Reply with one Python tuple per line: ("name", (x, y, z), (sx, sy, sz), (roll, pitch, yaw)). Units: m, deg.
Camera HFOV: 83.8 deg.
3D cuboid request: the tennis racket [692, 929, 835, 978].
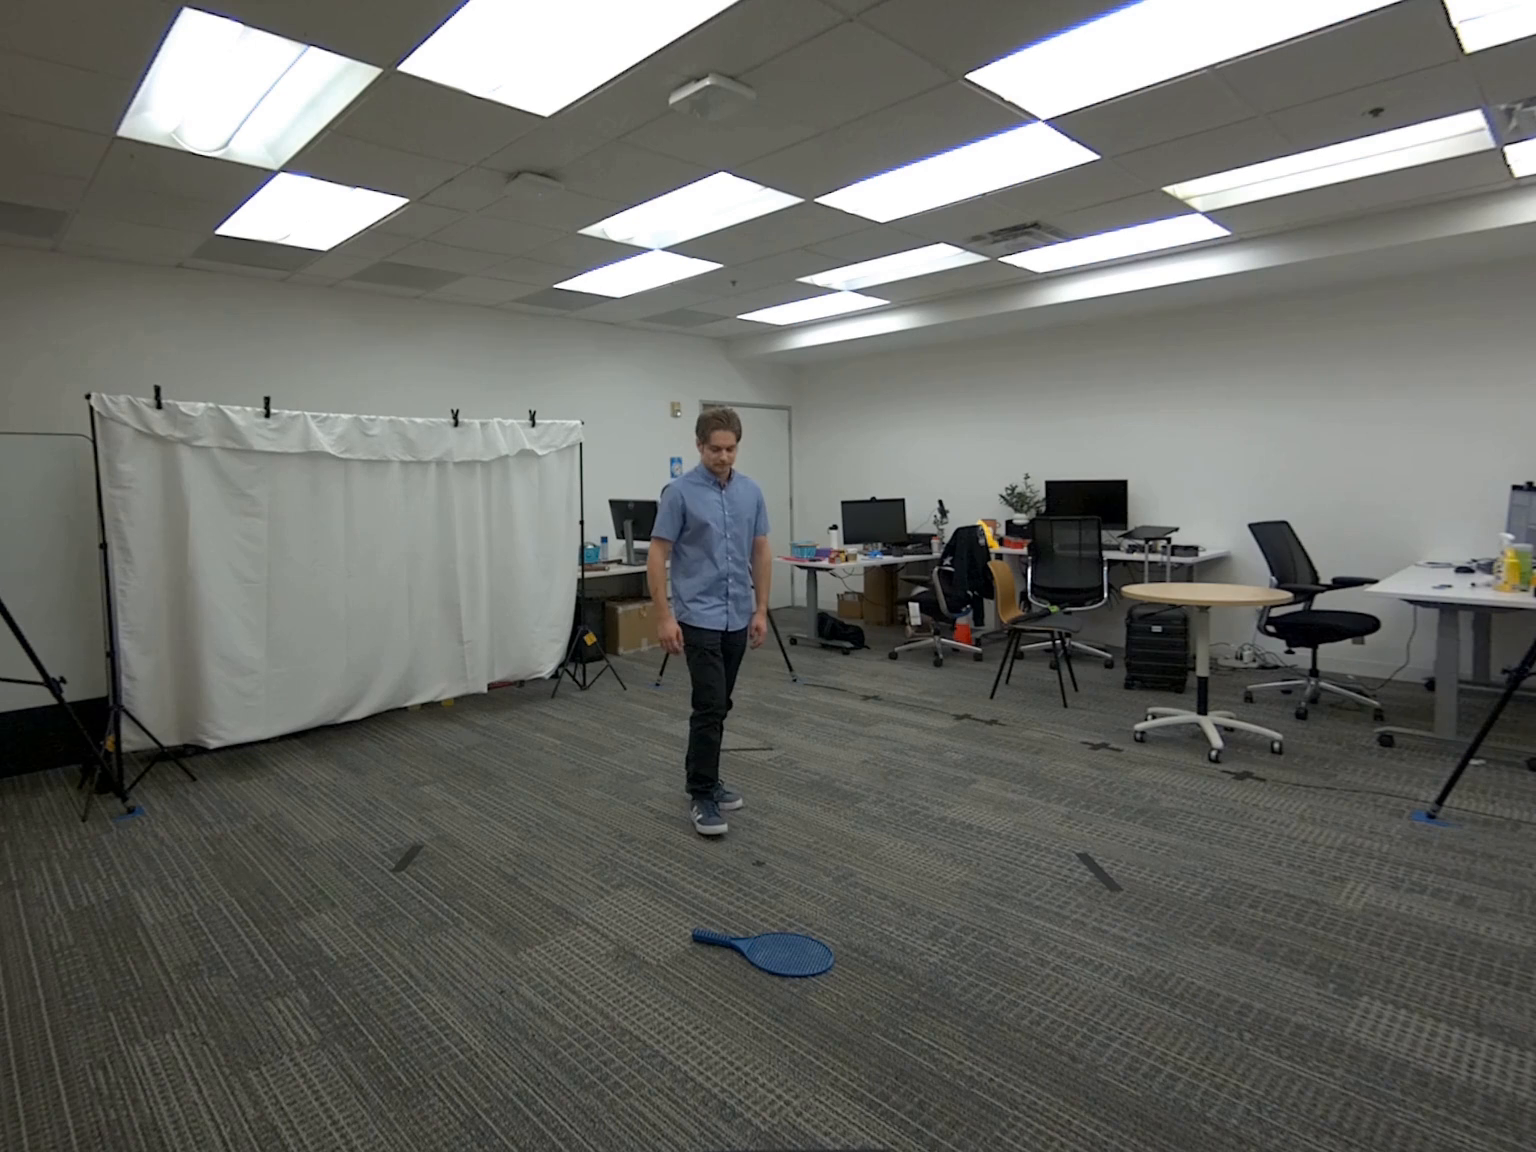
("tennis racket", (-0.012, 1.098, 2.535), (0.441, 0.031, 0.210), (3, 7, 20))
